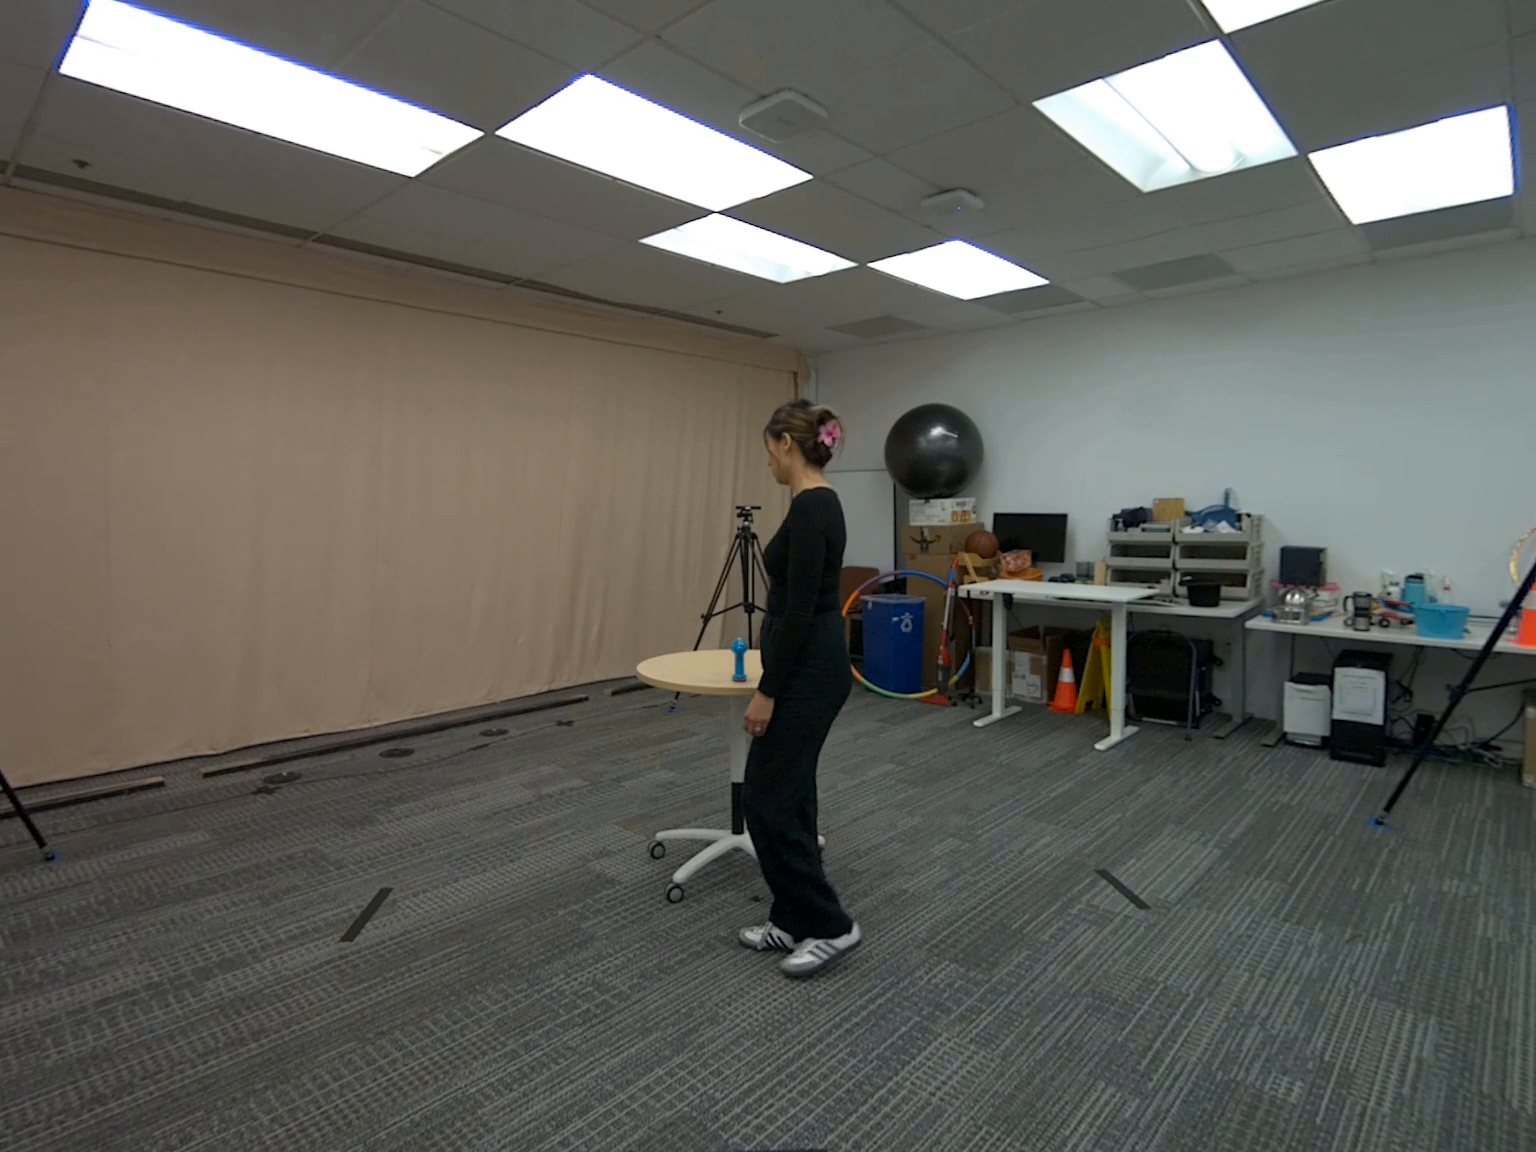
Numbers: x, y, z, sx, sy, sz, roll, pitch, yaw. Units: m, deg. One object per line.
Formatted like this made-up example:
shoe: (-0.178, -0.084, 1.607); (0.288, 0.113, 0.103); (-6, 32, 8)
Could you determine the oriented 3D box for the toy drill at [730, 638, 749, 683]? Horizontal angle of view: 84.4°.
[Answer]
toy drill: (-0.101, 0.290, 2.969); (0.061, 0.146, 0.171); (-1, 3, -6)
